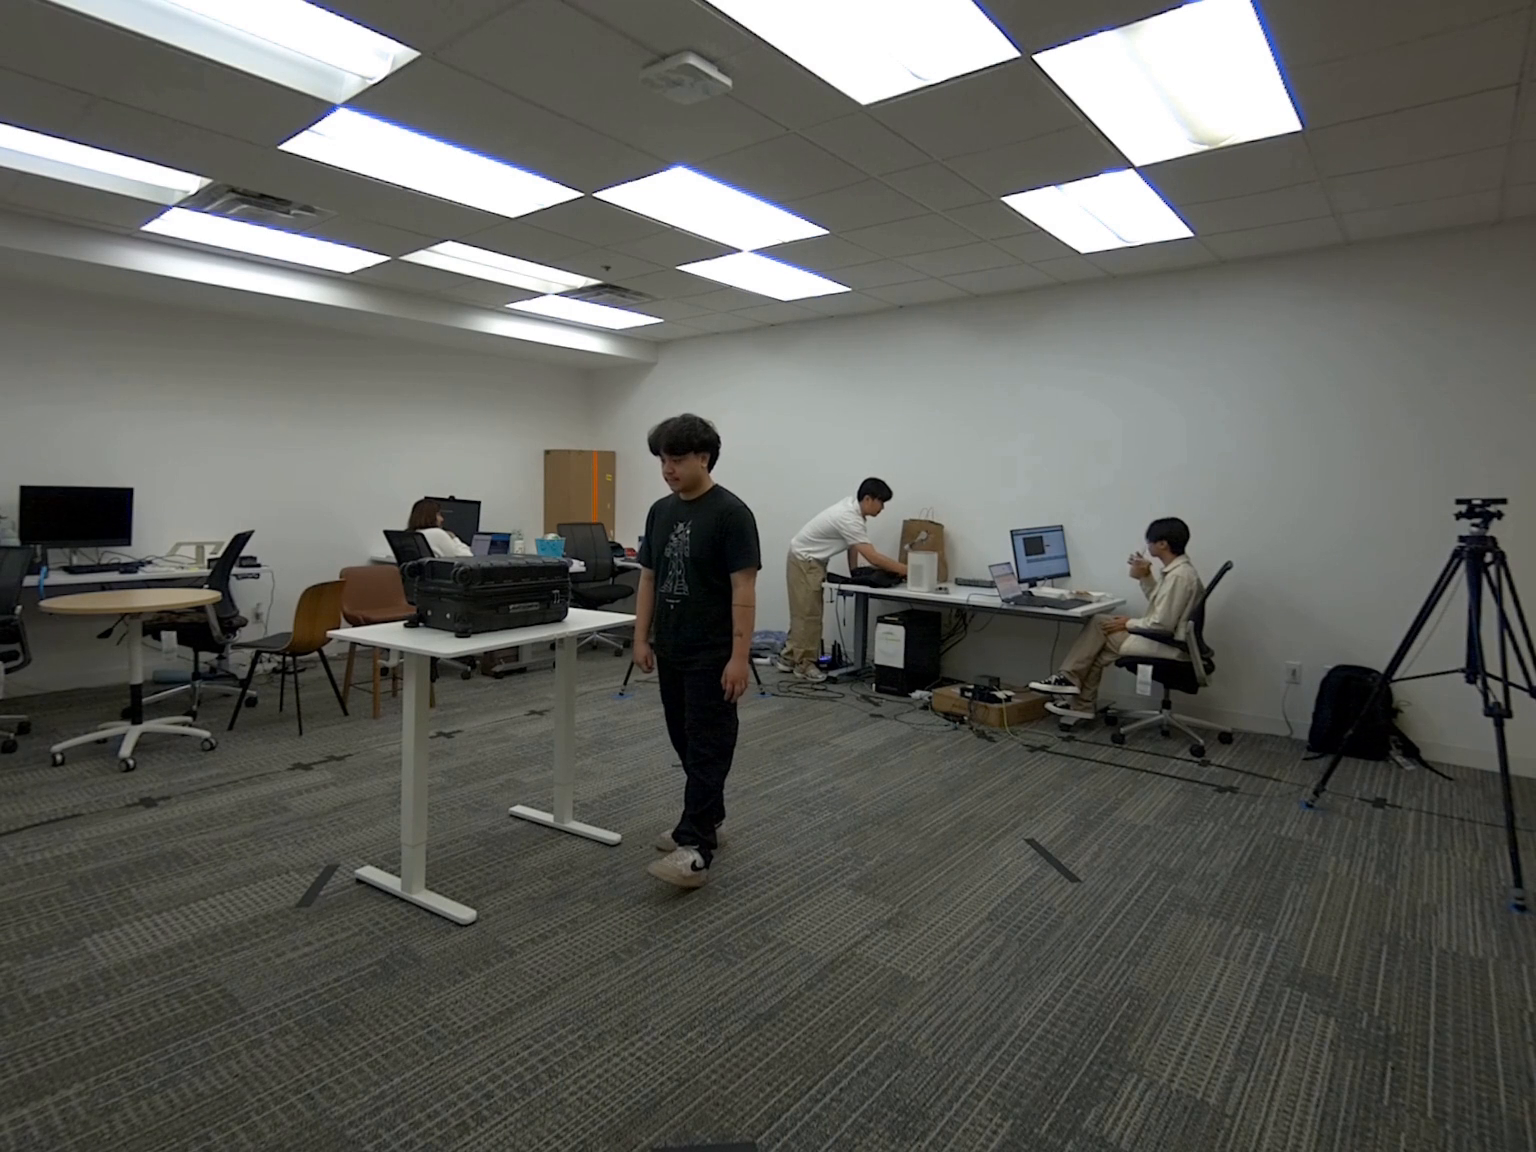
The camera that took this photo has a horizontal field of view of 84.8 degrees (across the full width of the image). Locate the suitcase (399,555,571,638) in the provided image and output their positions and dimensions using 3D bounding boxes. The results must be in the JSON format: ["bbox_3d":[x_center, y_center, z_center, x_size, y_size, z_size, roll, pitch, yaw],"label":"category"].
[{"bbox_3d":[-1.026,0.059,3.119,0.387,0.247,0.534,3,5,34],"label":"suitcase"}]
